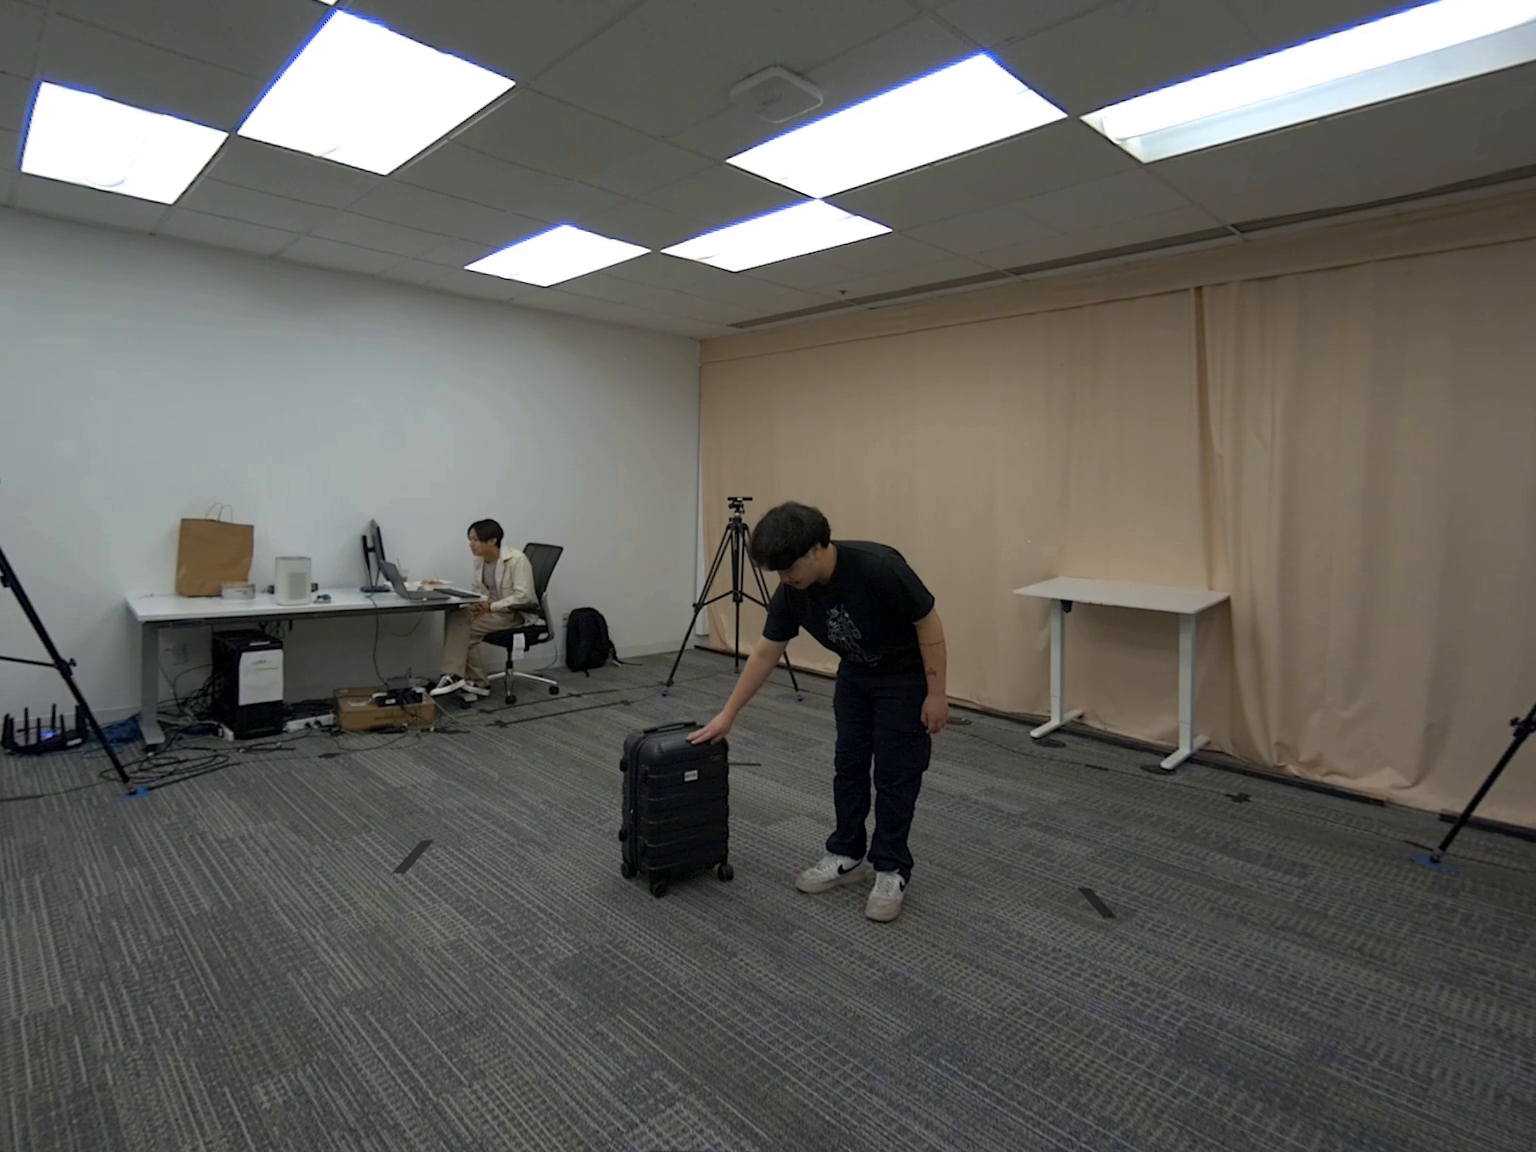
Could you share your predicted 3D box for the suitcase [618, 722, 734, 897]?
[{"bbox_3d":[-0.336,0.824,3.083,0.367,0.548,0.254,-2,3,-35],"label":"suitcase"}]
